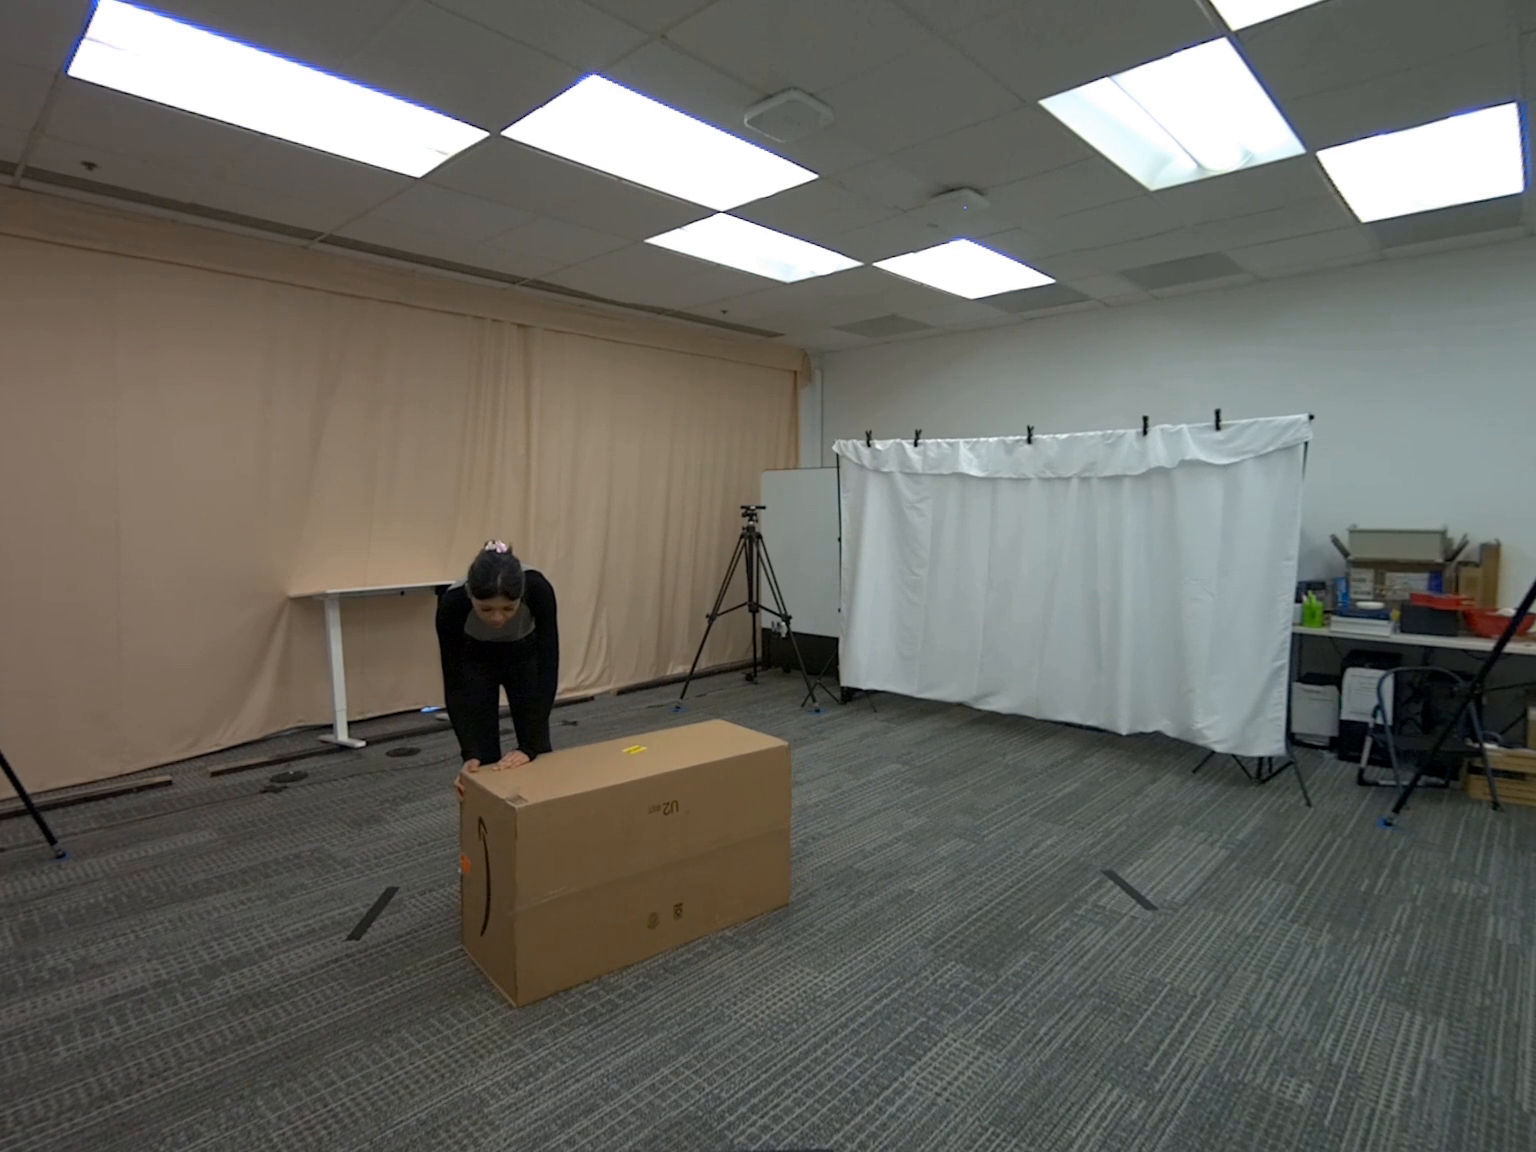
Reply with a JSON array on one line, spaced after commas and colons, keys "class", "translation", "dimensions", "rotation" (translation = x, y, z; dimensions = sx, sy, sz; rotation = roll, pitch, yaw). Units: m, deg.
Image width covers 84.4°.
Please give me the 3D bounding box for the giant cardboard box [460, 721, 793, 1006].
[{"class": "giant cardboard box", "translation": [-0.439, 0.878, 2.787], "dimensions": [0.996, 0.583, 0.461], "rotation": [-4, 4, -39]}]
